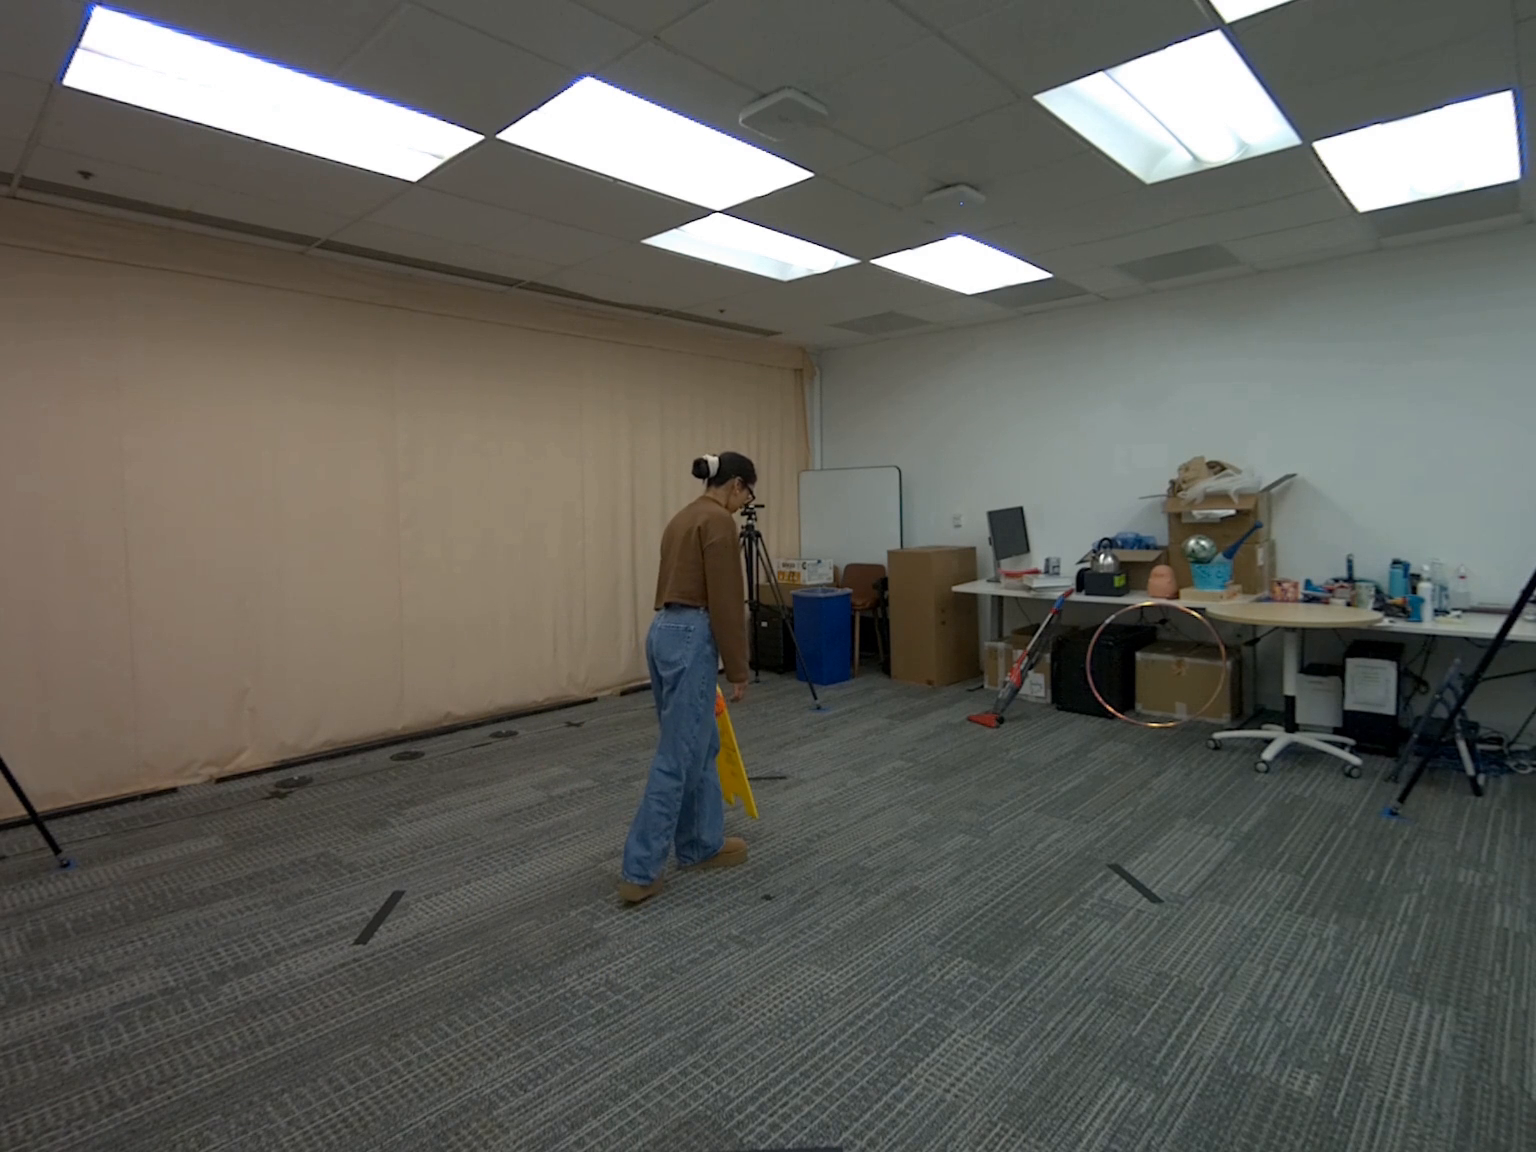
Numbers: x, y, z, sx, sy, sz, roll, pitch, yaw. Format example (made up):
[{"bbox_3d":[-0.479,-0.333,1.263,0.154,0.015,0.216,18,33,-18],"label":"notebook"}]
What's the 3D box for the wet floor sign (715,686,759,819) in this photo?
[{"bbox_3d":[-0.254,0.697,3.523,0.282,0.644,0.290,-7,4,-29],"label":"wet floor sign"}]
